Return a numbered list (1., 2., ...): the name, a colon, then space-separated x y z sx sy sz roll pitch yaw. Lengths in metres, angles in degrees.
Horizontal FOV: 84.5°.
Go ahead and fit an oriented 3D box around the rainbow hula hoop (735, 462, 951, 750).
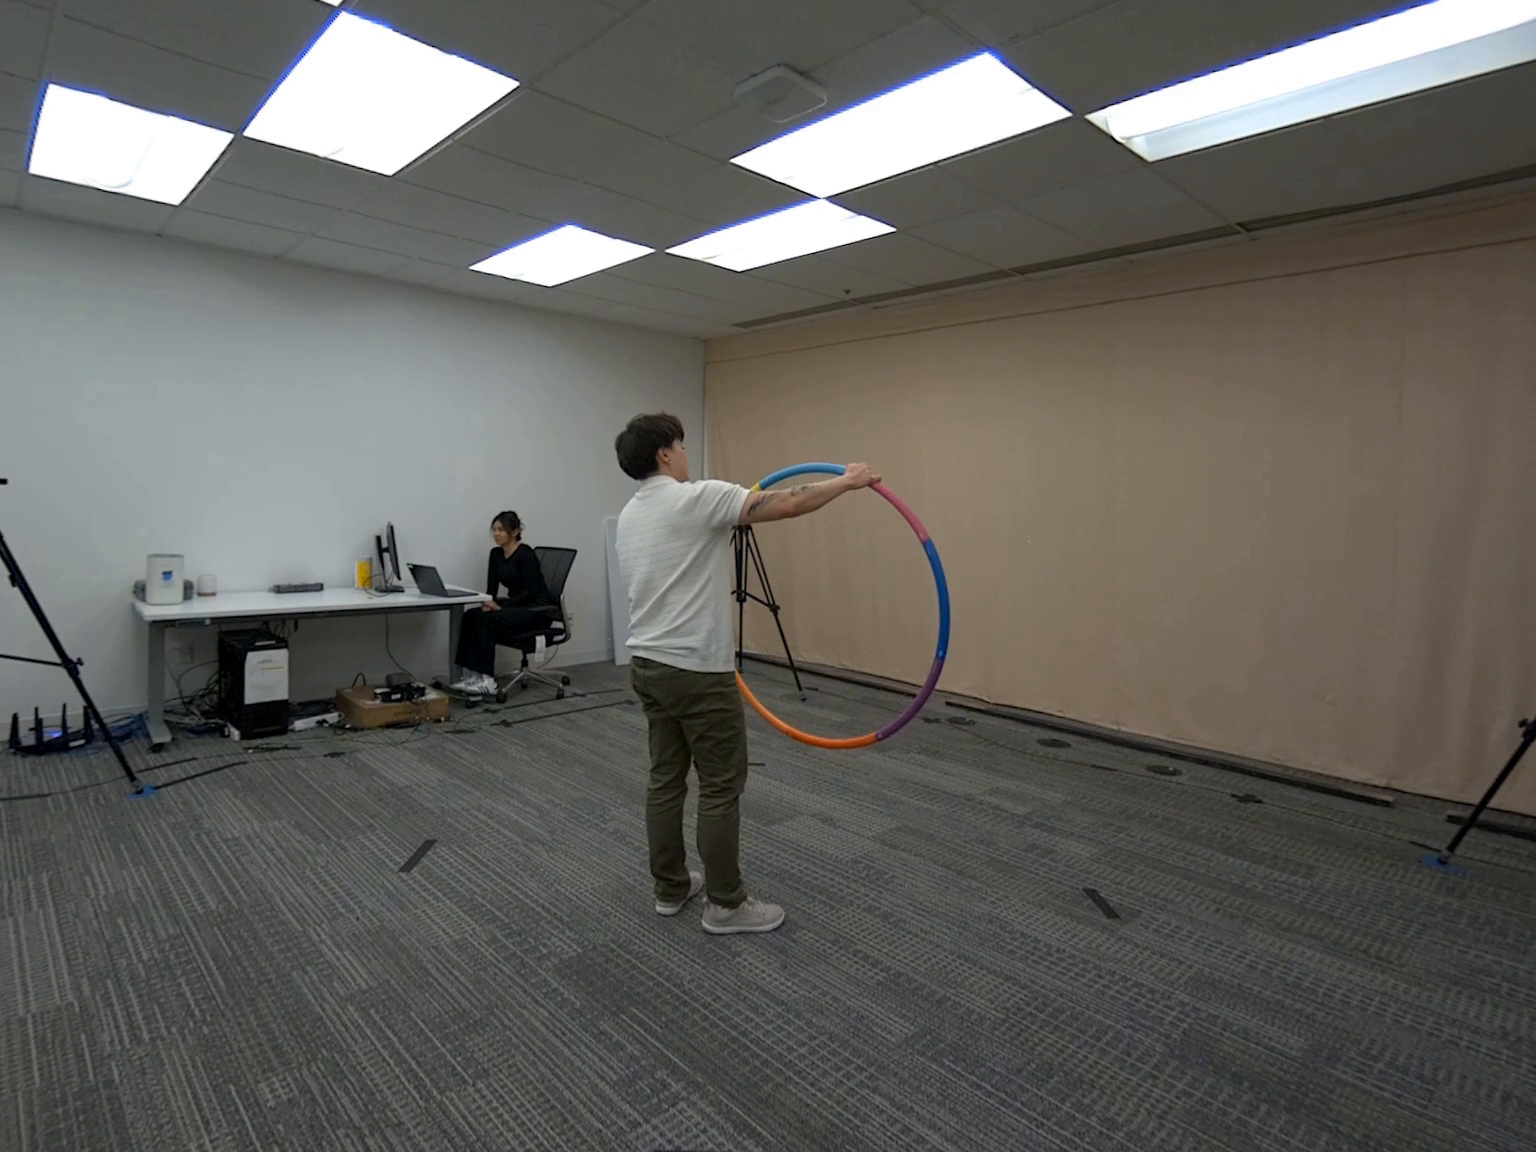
1. rainbow hula hoop: 0.157 0.096 2.928 1.003 0.975 0.035 5 6 39
